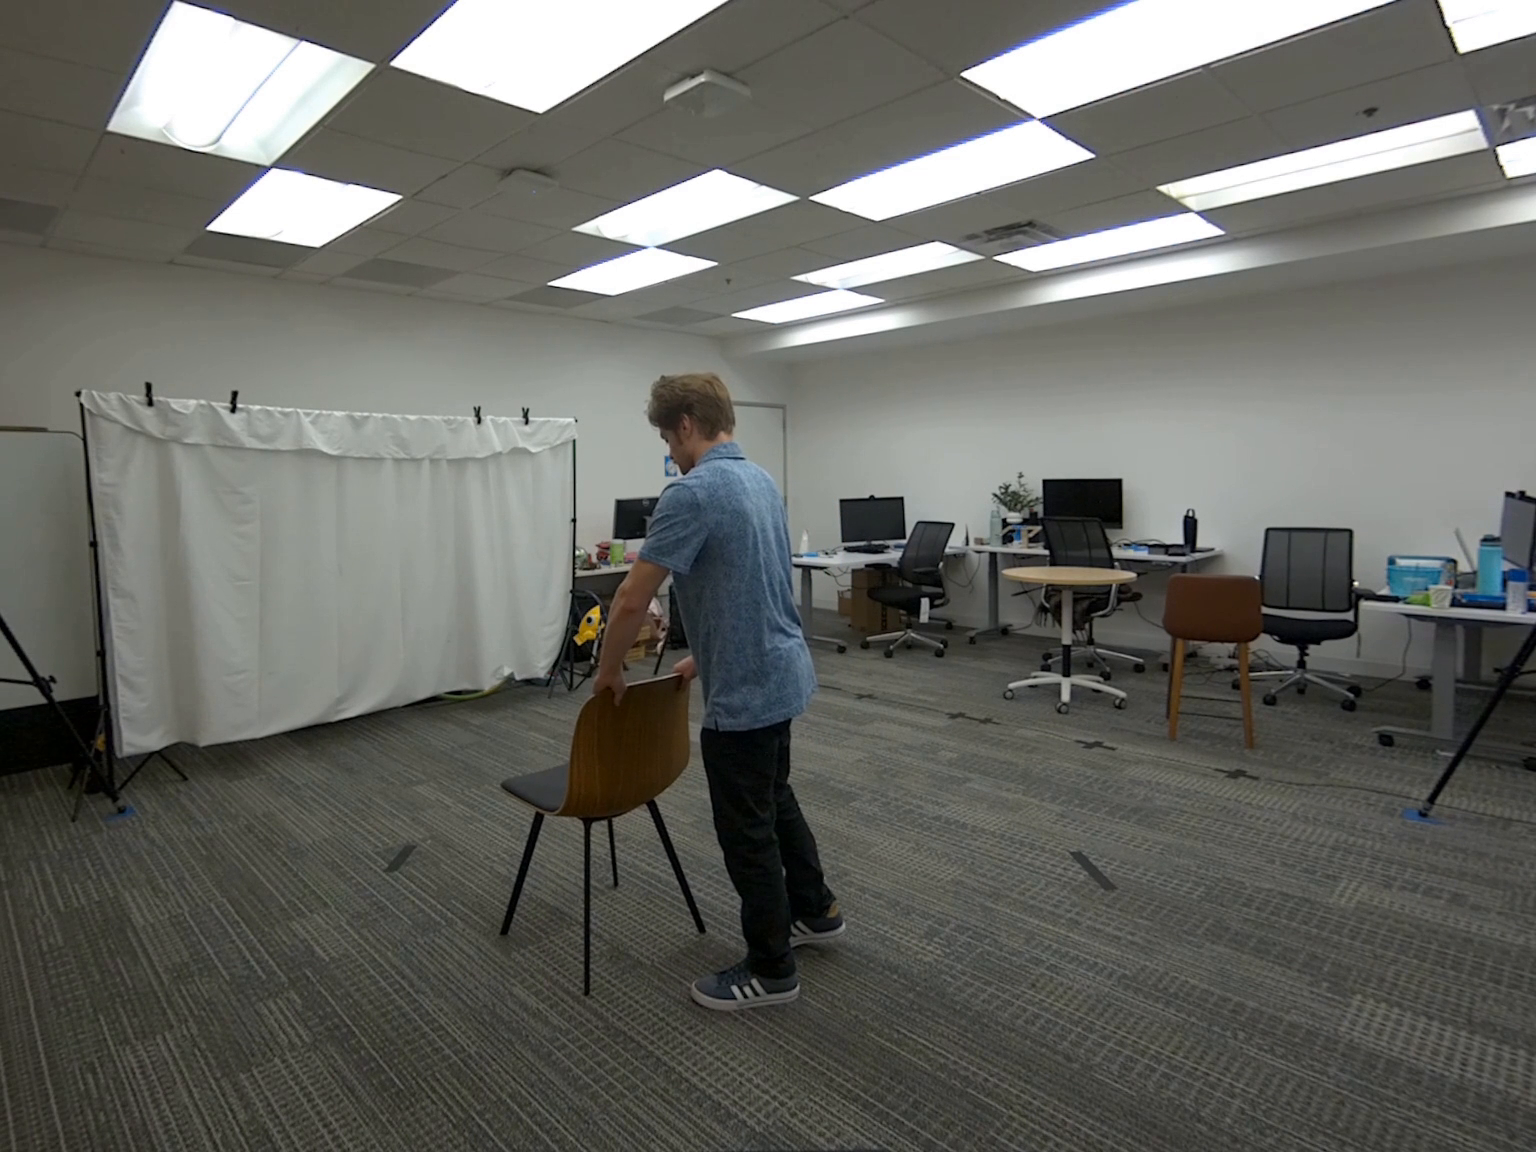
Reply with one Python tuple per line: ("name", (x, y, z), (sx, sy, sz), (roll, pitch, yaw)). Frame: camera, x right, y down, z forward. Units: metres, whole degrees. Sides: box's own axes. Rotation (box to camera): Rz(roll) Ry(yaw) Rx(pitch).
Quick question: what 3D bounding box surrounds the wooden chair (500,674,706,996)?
("wooden chair", (-0.518, 0.679, 2.611), (0.541, 0.871, 0.465), (10, 11, 44))
